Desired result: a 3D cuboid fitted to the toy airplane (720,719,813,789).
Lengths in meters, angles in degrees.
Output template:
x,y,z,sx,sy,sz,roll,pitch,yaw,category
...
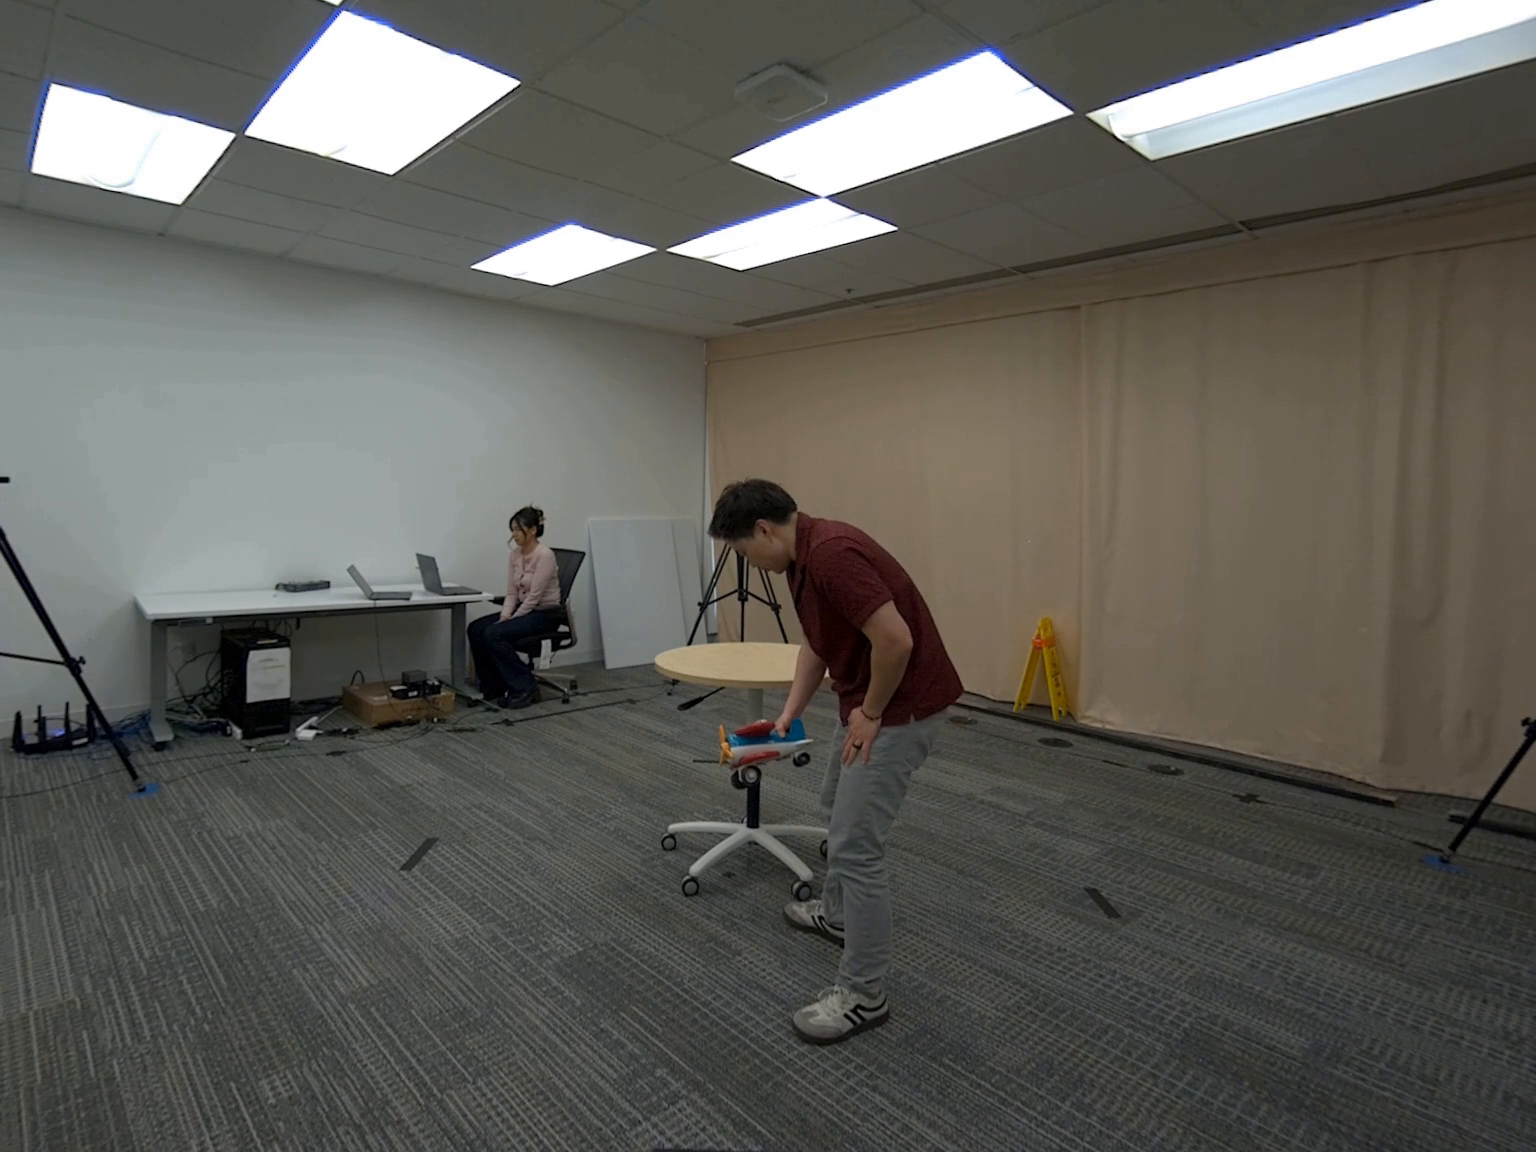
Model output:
x,y,z,sx,sy,sz,roll,pitch,yaw,category
-0.014,0.496,2.370,0.253,0.159,0.253,-32,-18,36,toy airplane
